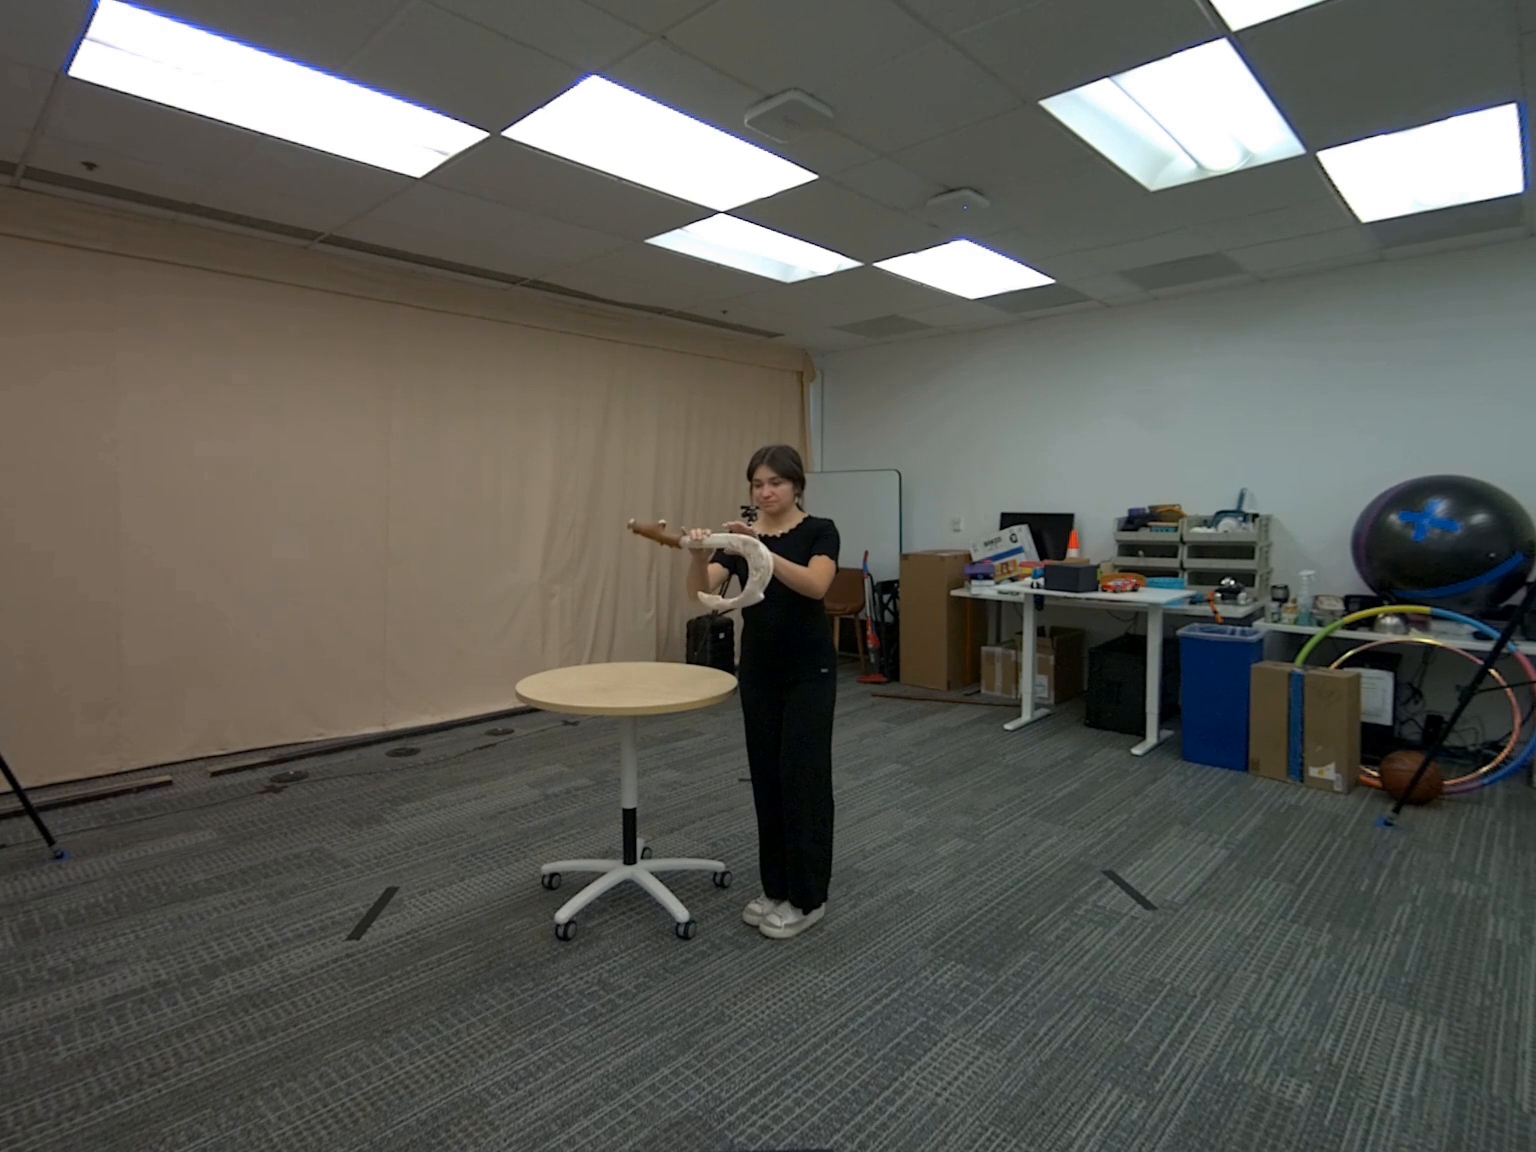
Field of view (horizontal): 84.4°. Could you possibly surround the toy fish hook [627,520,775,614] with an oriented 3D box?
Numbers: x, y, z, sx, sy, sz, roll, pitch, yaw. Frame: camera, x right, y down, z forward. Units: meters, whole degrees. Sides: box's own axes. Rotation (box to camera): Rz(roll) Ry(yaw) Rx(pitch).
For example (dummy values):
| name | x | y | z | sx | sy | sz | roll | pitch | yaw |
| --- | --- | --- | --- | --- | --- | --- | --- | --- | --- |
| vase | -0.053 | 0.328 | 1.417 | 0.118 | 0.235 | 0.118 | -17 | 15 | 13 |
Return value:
| name | x | y | z | sx | sy | sz | roll | pitch | yaw |
| --- | --- | --- | --- | --- | --- | --- | --- | --- | --- |
| toy fish hook | -0.215 | -0.046 | 2.432 | 0.522 | 0.225 | 0.047 | 16 | -10 | 28 |
